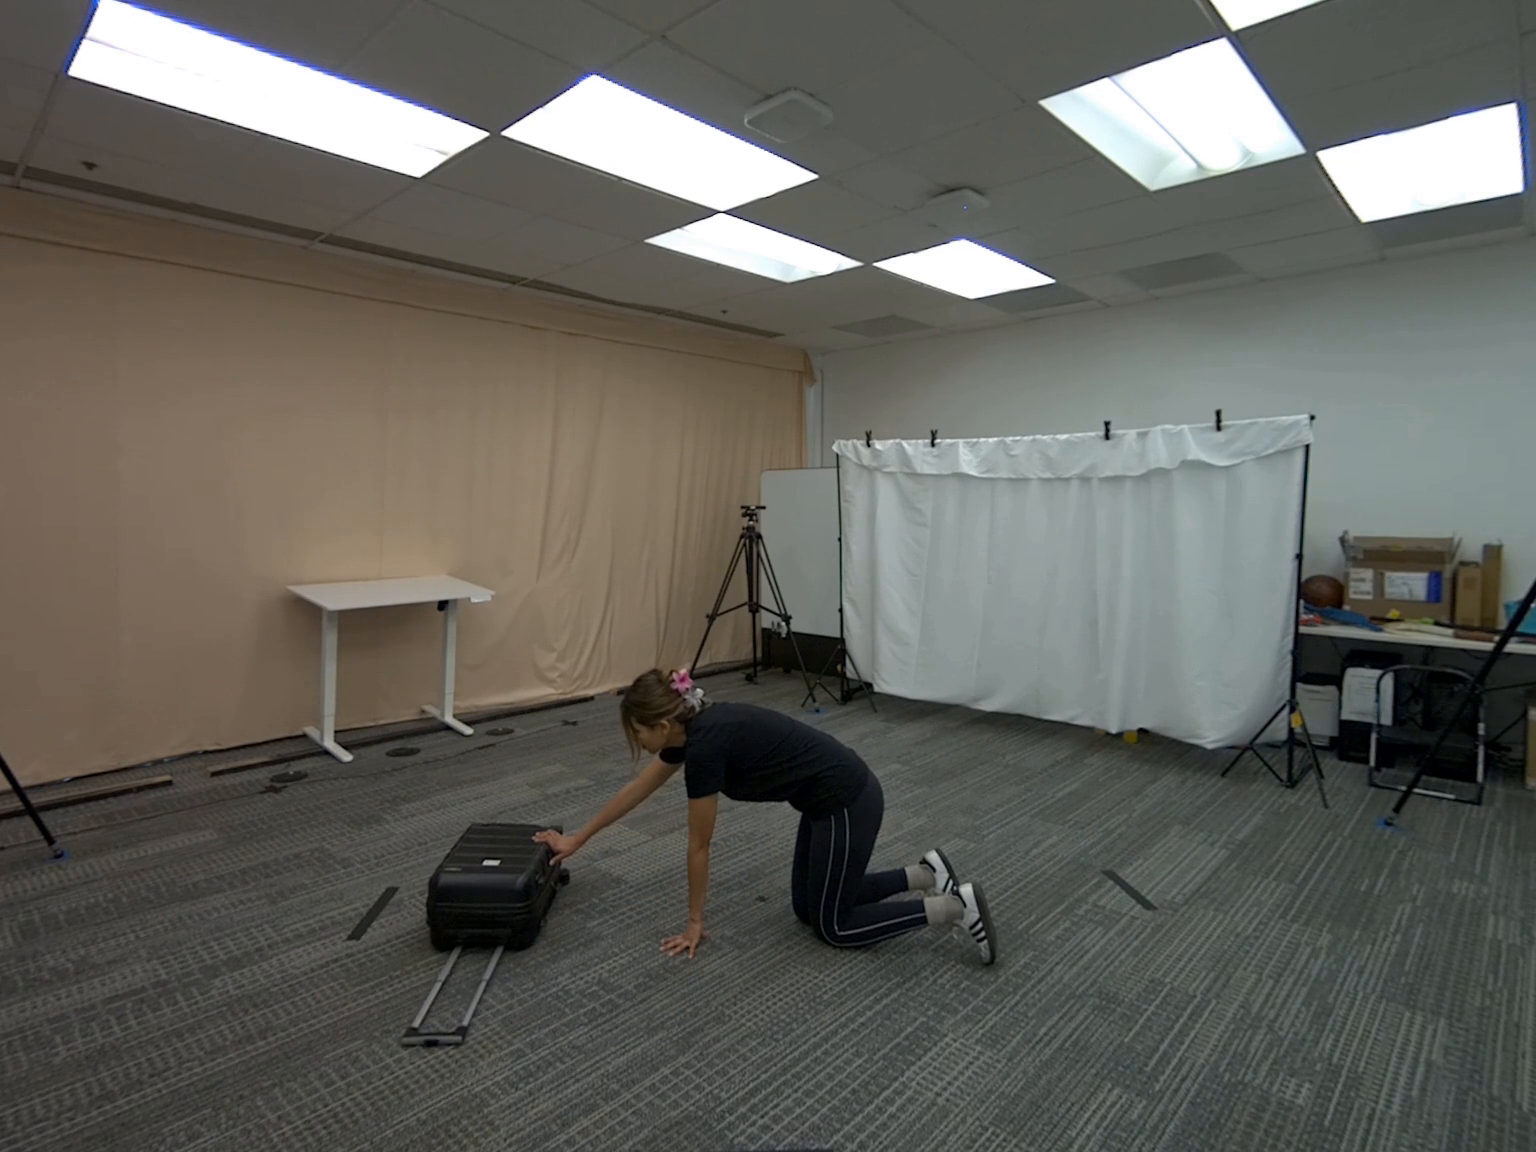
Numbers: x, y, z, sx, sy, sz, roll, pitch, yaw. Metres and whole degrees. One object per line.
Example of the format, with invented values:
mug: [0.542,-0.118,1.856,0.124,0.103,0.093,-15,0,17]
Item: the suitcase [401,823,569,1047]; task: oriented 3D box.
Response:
suitcase: [-0.904,1.057,2.664,0.383,0.257,0.981,1,3,-3]
